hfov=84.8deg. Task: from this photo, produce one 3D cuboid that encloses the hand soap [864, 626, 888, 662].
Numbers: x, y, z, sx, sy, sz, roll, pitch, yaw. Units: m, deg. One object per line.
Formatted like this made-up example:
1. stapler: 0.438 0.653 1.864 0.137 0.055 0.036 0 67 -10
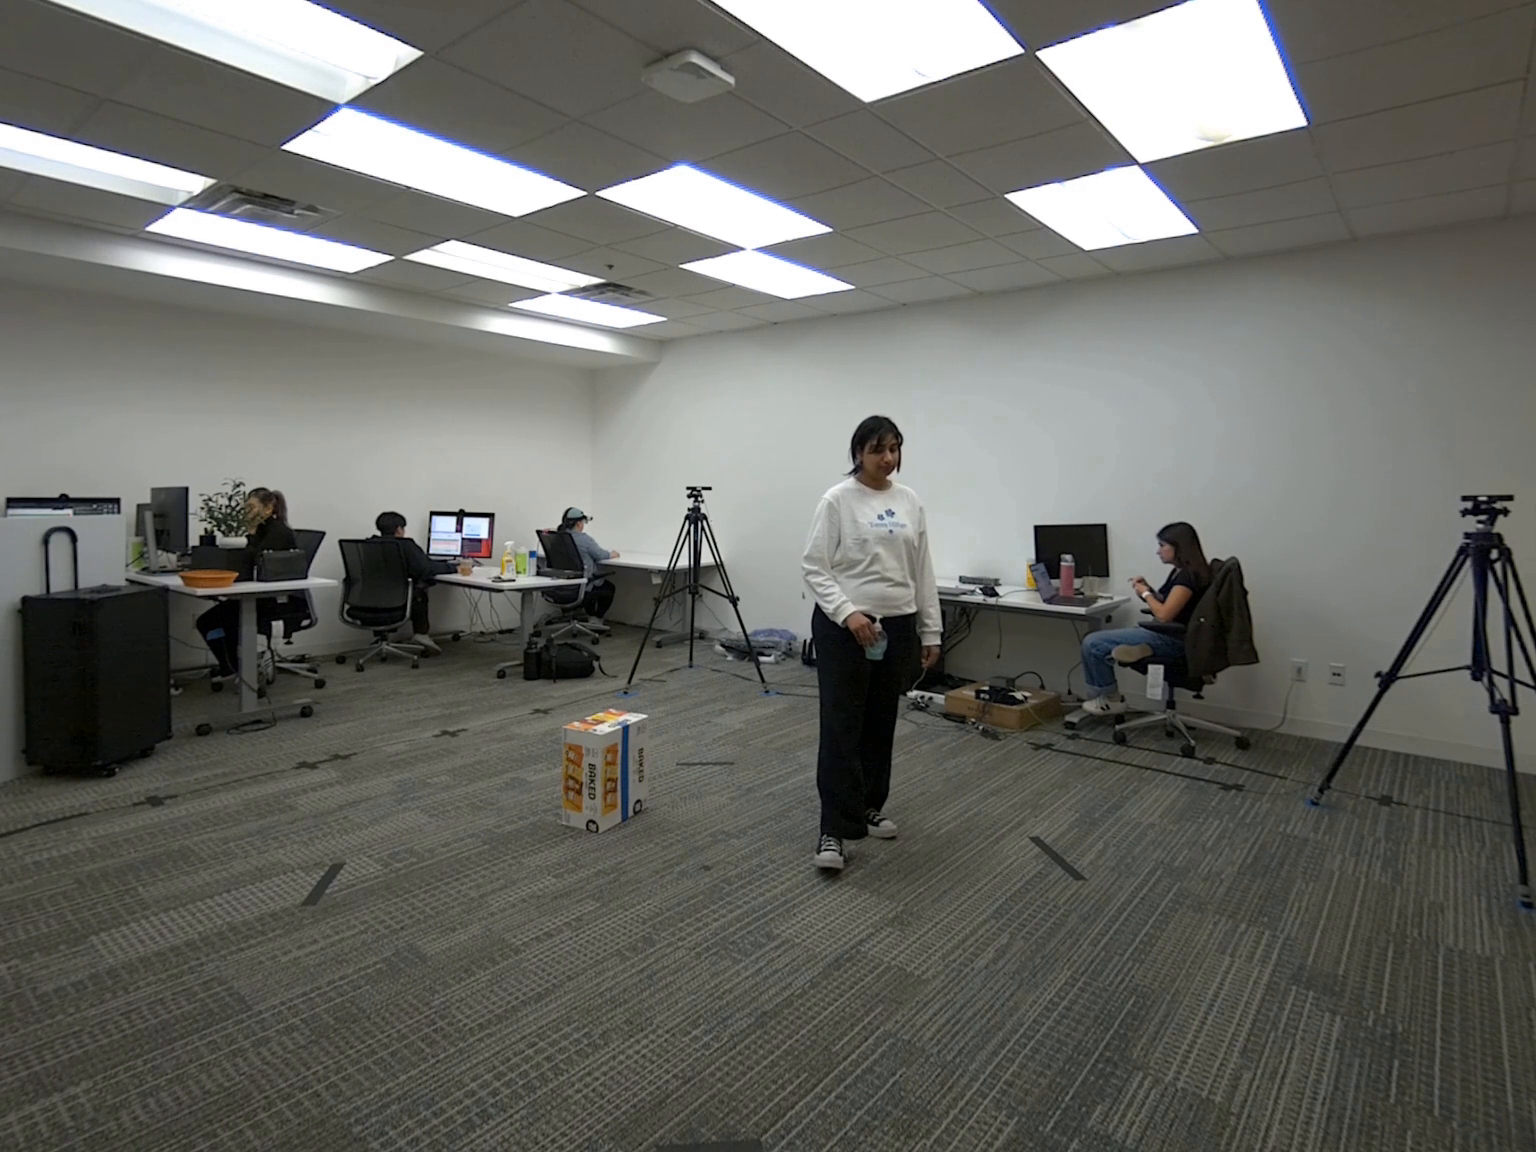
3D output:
1. hand soap: 0.397 0.229 3.187 0.084 0.168 0.043 5 3 -2
